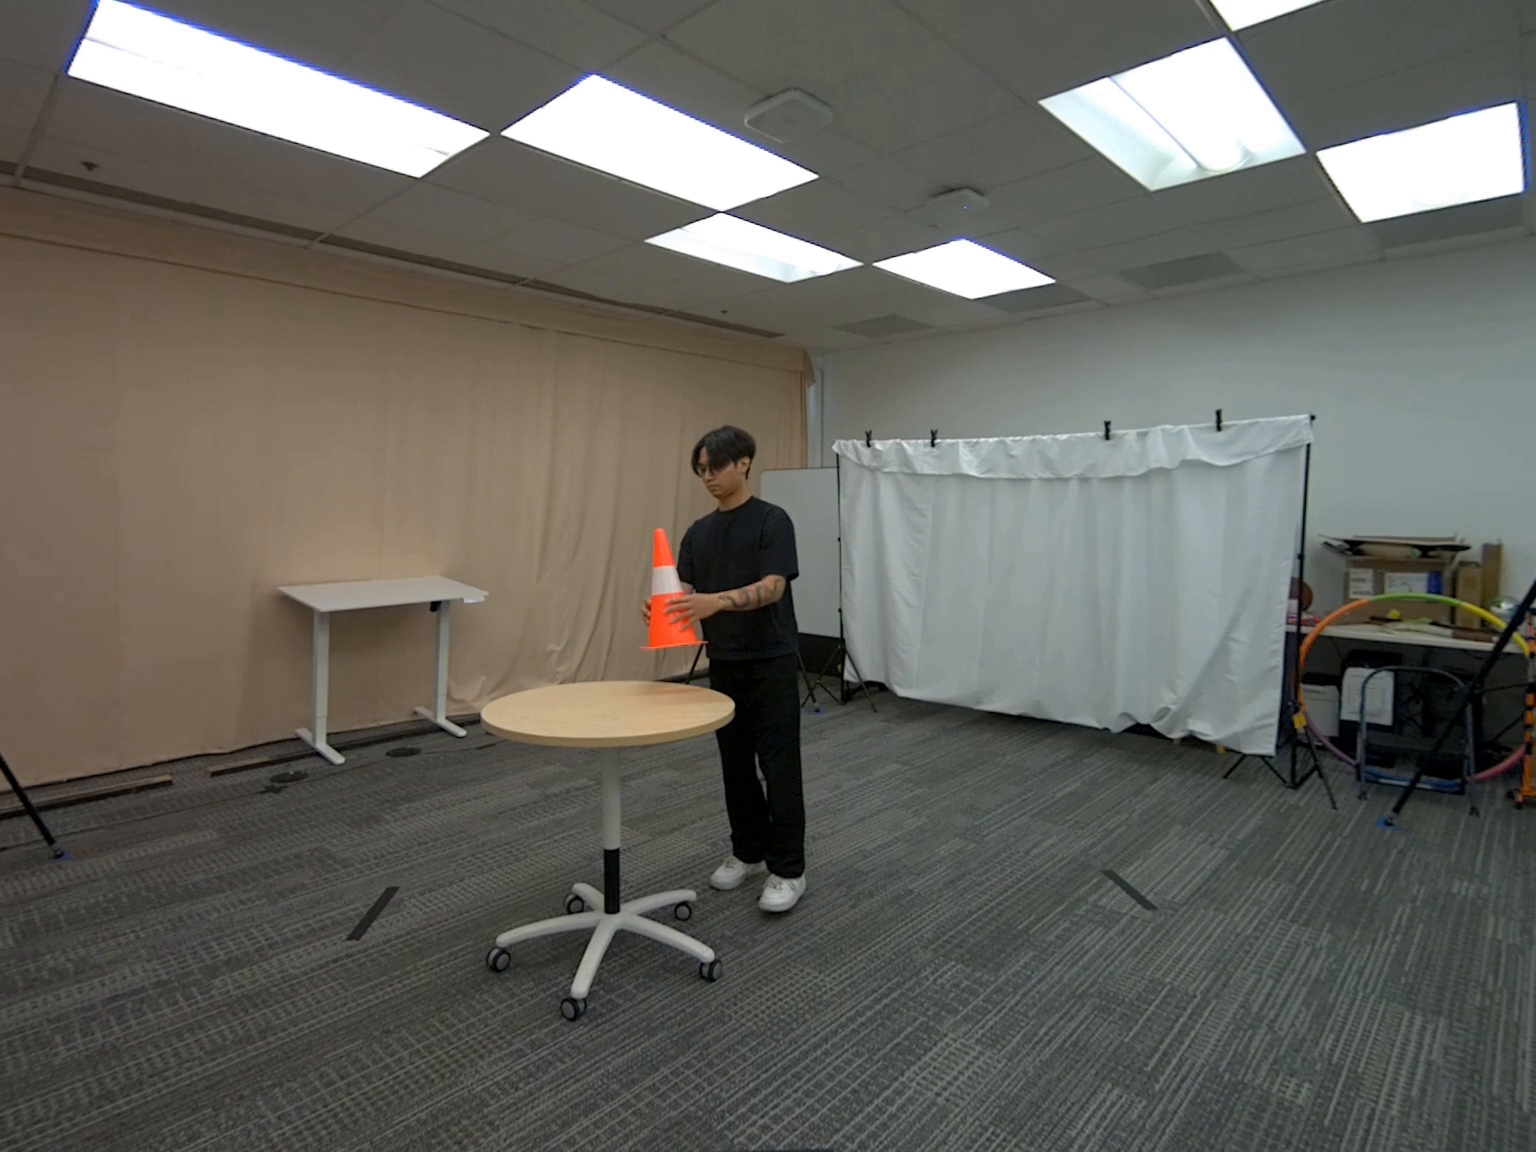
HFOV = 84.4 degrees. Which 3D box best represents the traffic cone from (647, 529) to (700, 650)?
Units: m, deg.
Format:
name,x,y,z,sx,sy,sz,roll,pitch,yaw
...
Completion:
name,x,y,z,sx,sy,sz,roll,pitch,yaw
traffic cone,-0.335,0.039,2.751,0.200,0.385,0.208,-6,-5,-29
